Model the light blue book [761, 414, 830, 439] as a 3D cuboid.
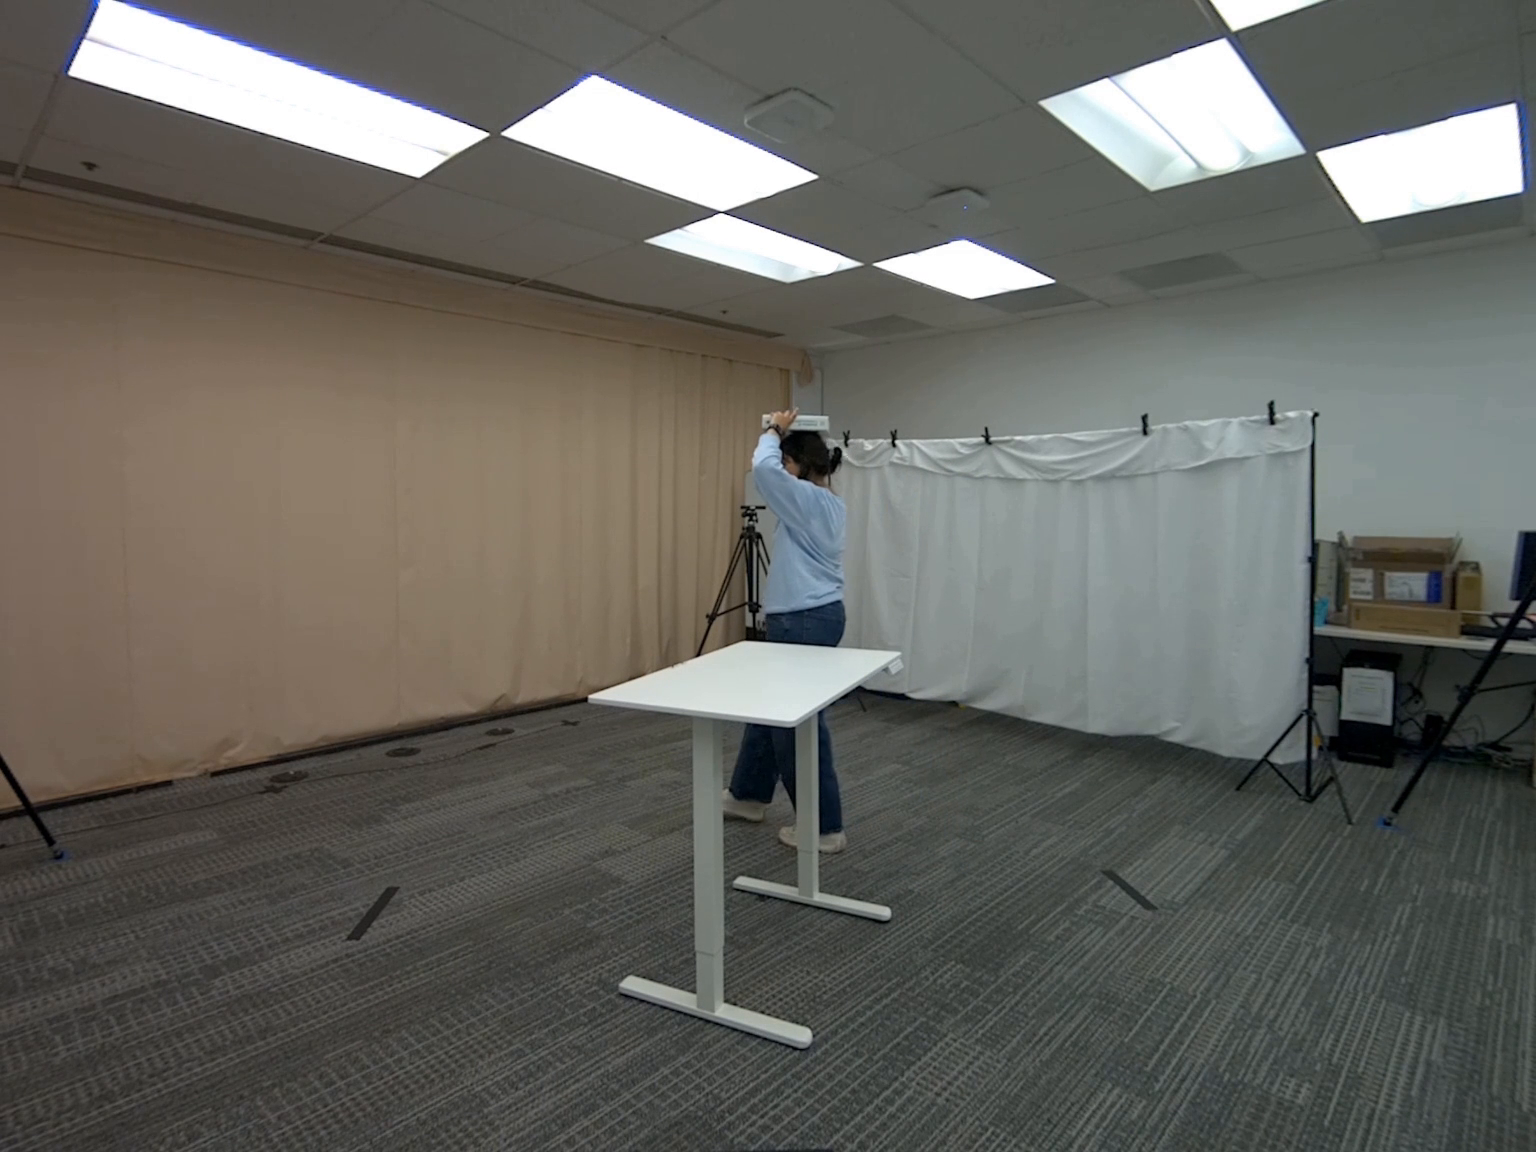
[{"bbox_3d":[0.112,-0.611,3.421,0.262,0.059,0.191,2,2,4],"label":"light blue book"}]
